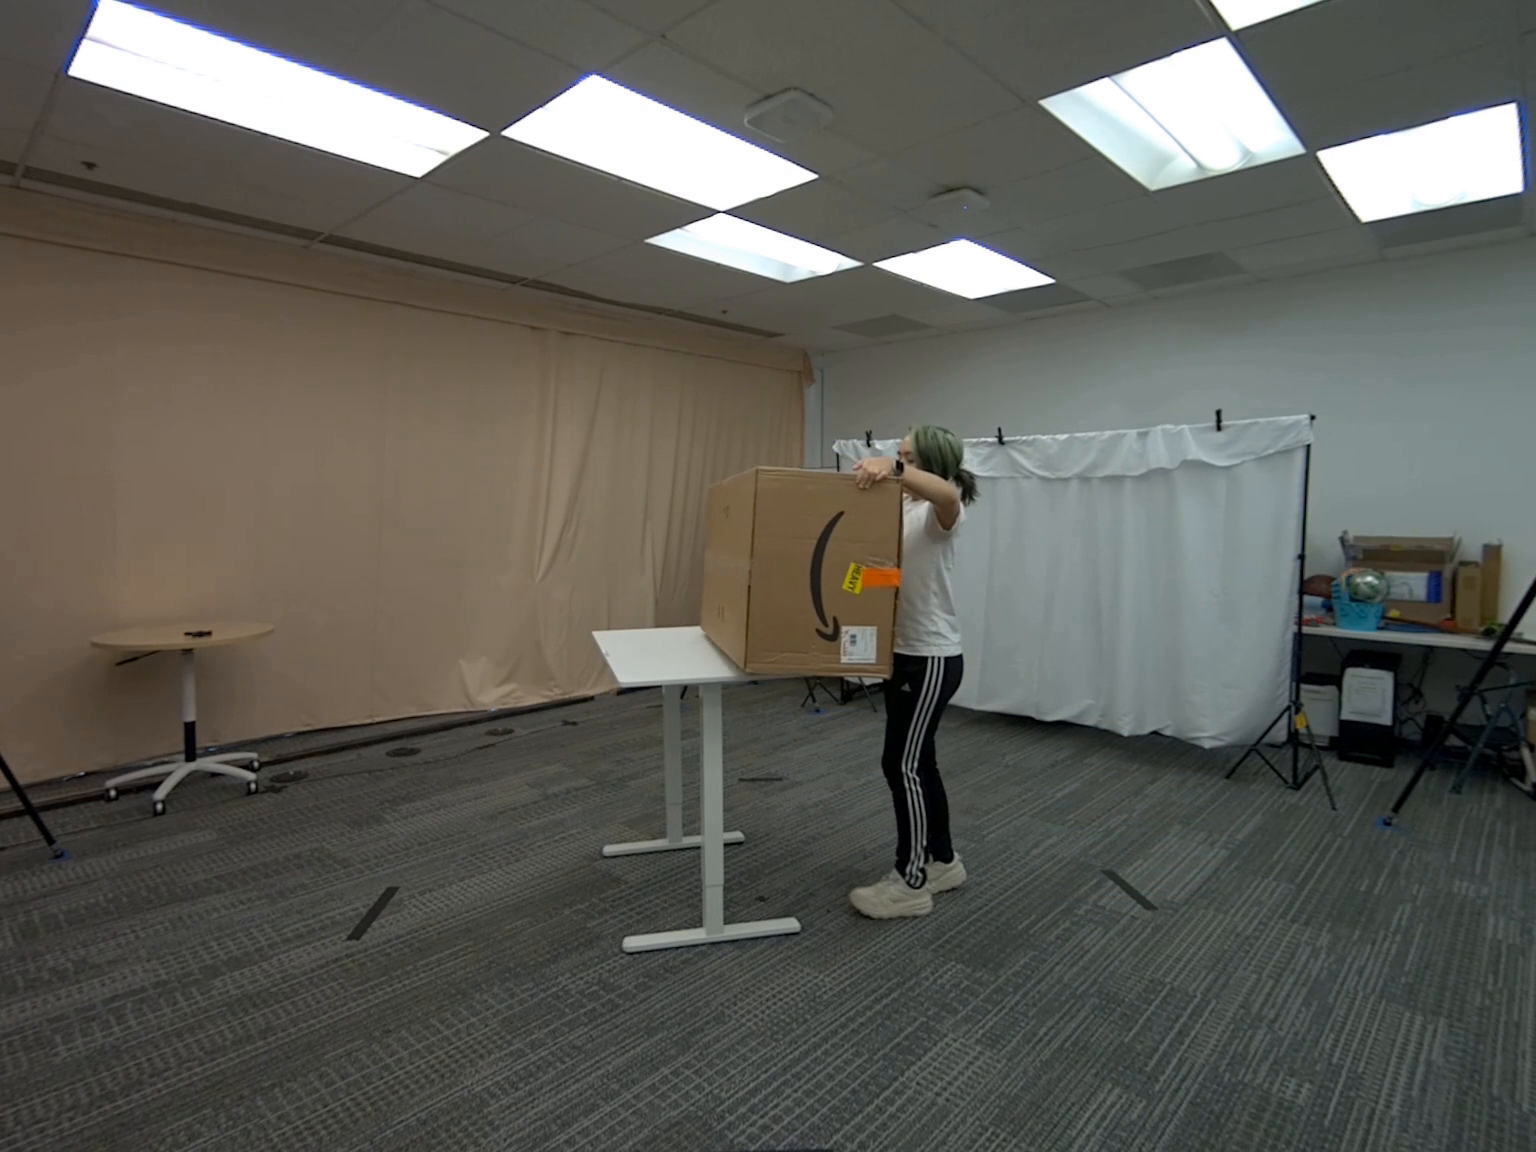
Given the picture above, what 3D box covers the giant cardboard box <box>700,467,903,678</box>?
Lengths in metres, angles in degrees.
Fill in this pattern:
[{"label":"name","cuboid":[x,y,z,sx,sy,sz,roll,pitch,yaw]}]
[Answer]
[{"label":"giant cardboard box","cuboid":[0.067,-0.037,2.846,0.442,0.583,1.040,4,2,-11]}]
